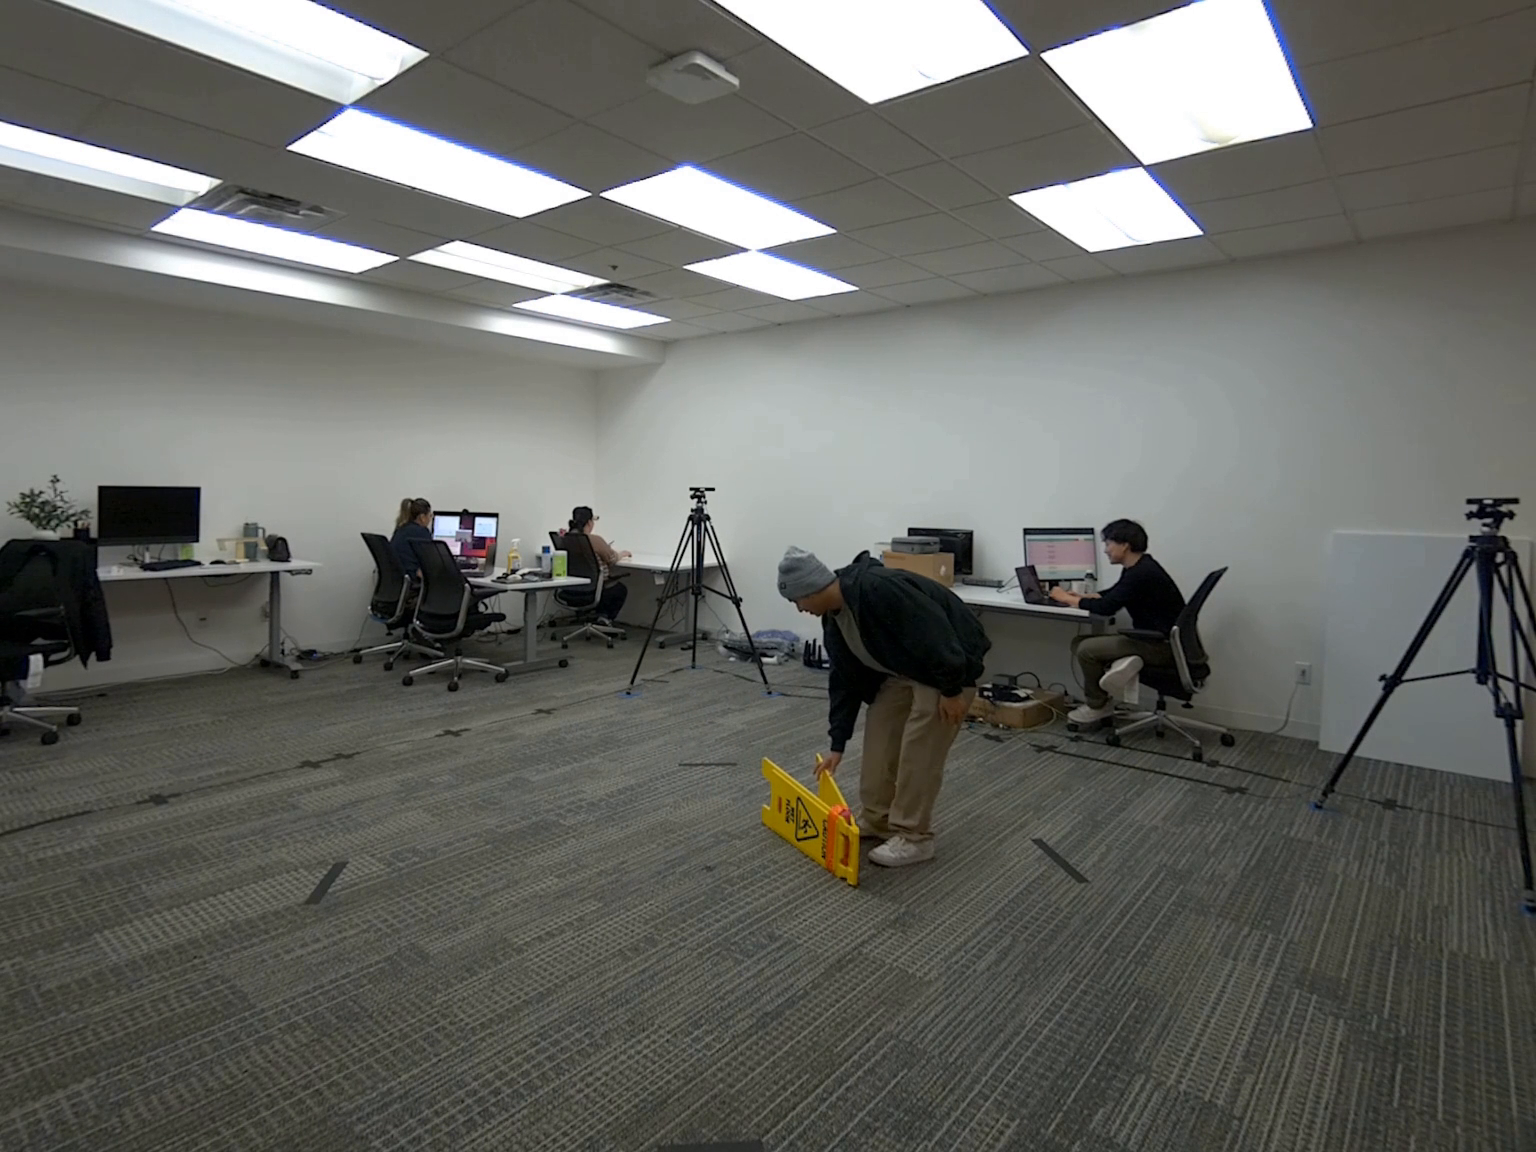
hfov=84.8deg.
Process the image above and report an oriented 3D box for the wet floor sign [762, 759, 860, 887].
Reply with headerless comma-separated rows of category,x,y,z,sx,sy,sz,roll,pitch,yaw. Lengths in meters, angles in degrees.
wet floor sign,0.200,0.930,3.277,0.284,0.280,0.662,-1,9,-19
